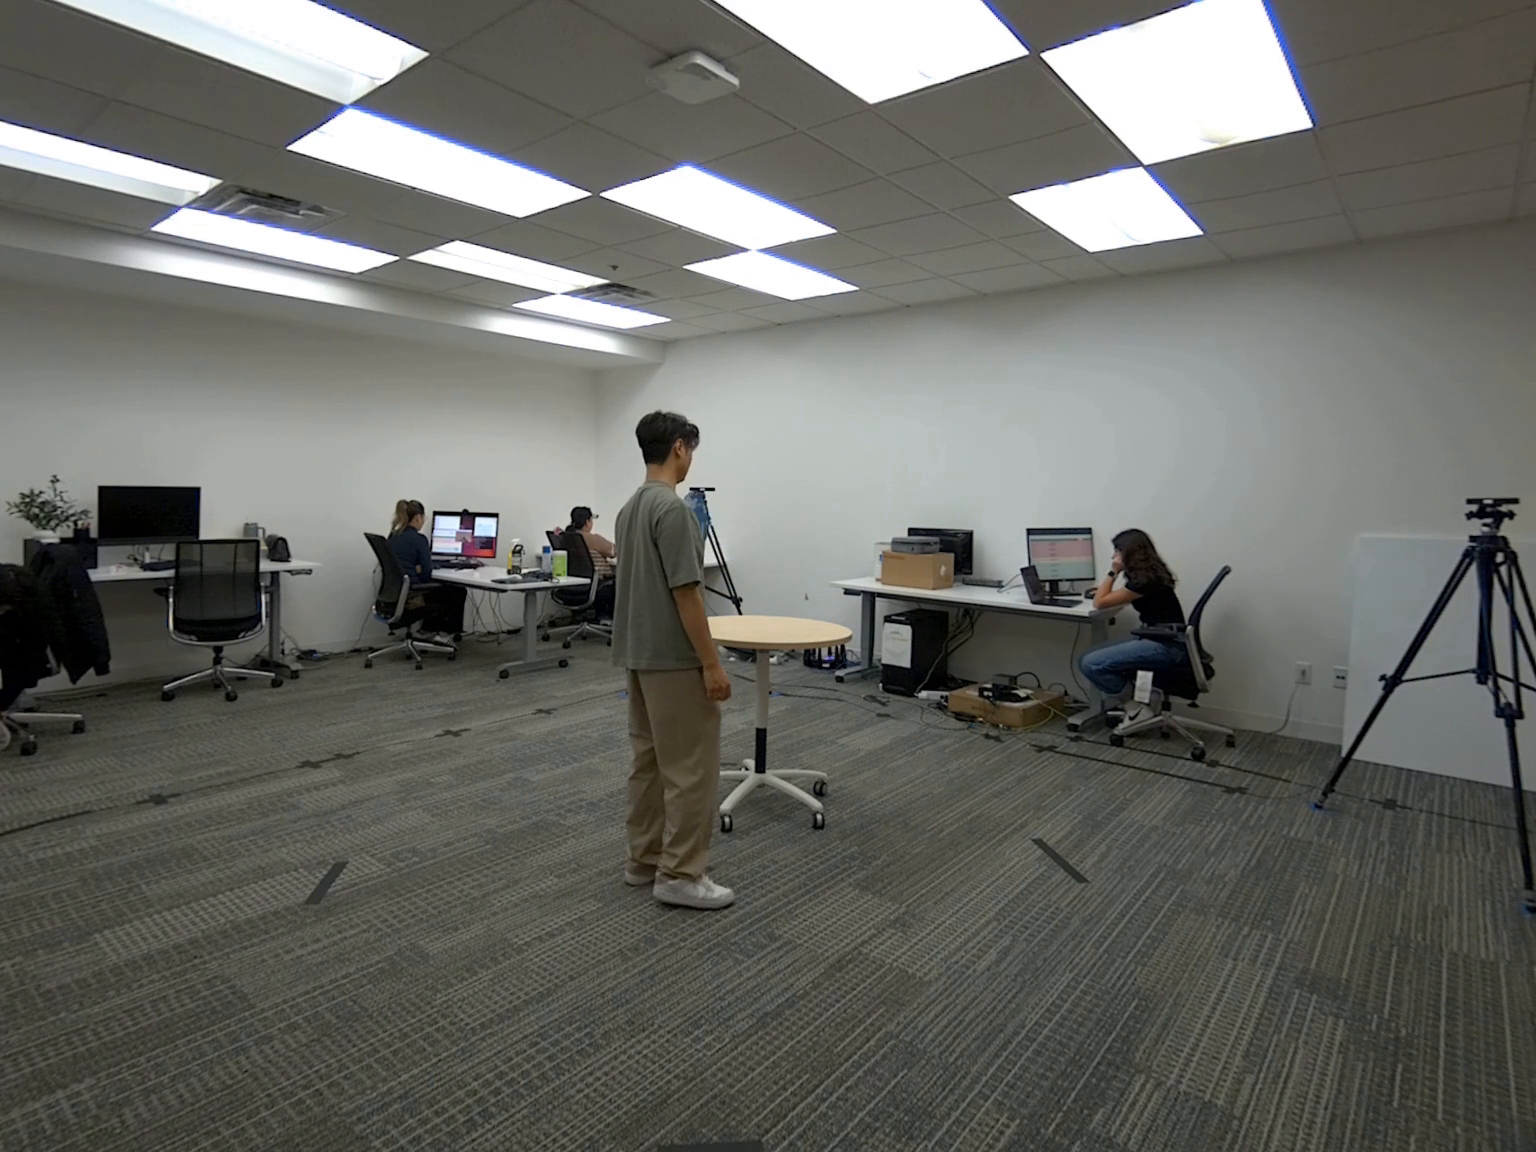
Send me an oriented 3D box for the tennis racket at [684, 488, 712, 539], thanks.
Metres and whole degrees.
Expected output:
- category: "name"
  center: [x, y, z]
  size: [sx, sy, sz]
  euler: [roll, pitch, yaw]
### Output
- category: "tennis racket"
  center: [-0.335, -0.179, 3.494]
  size: [0.032, 0.440, 0.205]
  euler: [-8, -45, 29]
